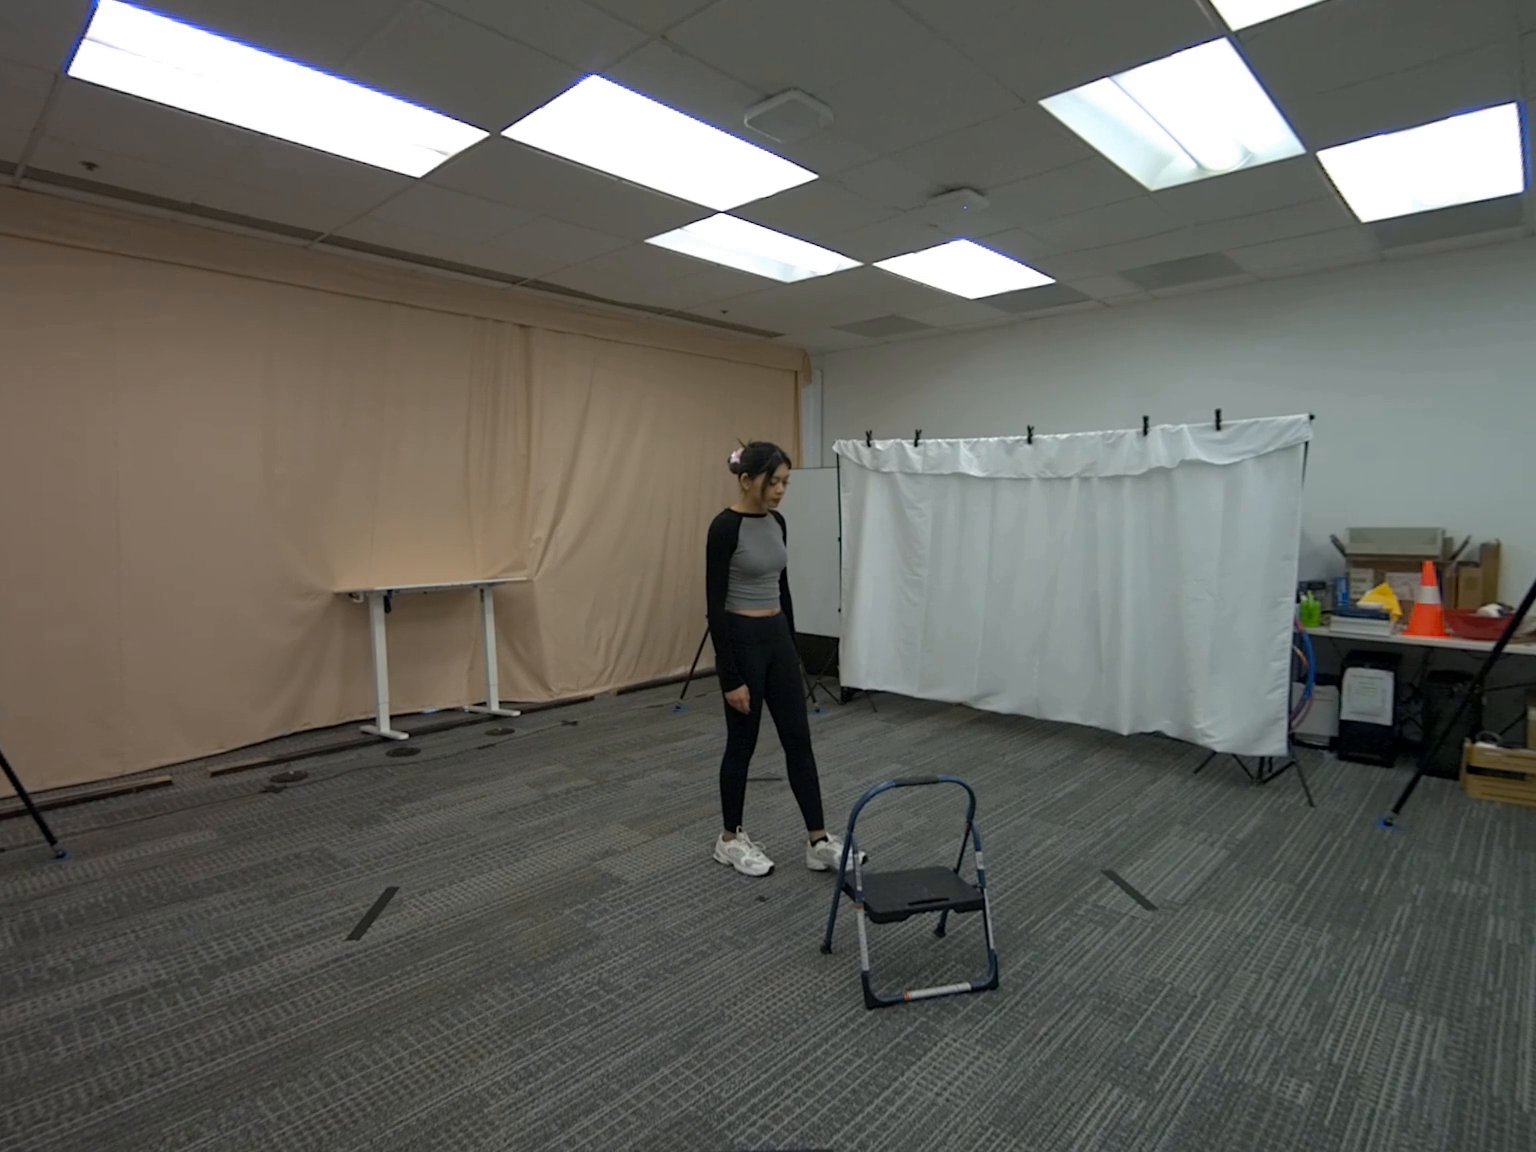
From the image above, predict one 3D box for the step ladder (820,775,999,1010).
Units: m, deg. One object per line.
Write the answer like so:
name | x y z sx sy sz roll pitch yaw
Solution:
step ladder | 0.426 0.881 2.515 0.423 0.605 0.356 -1 4 -16
